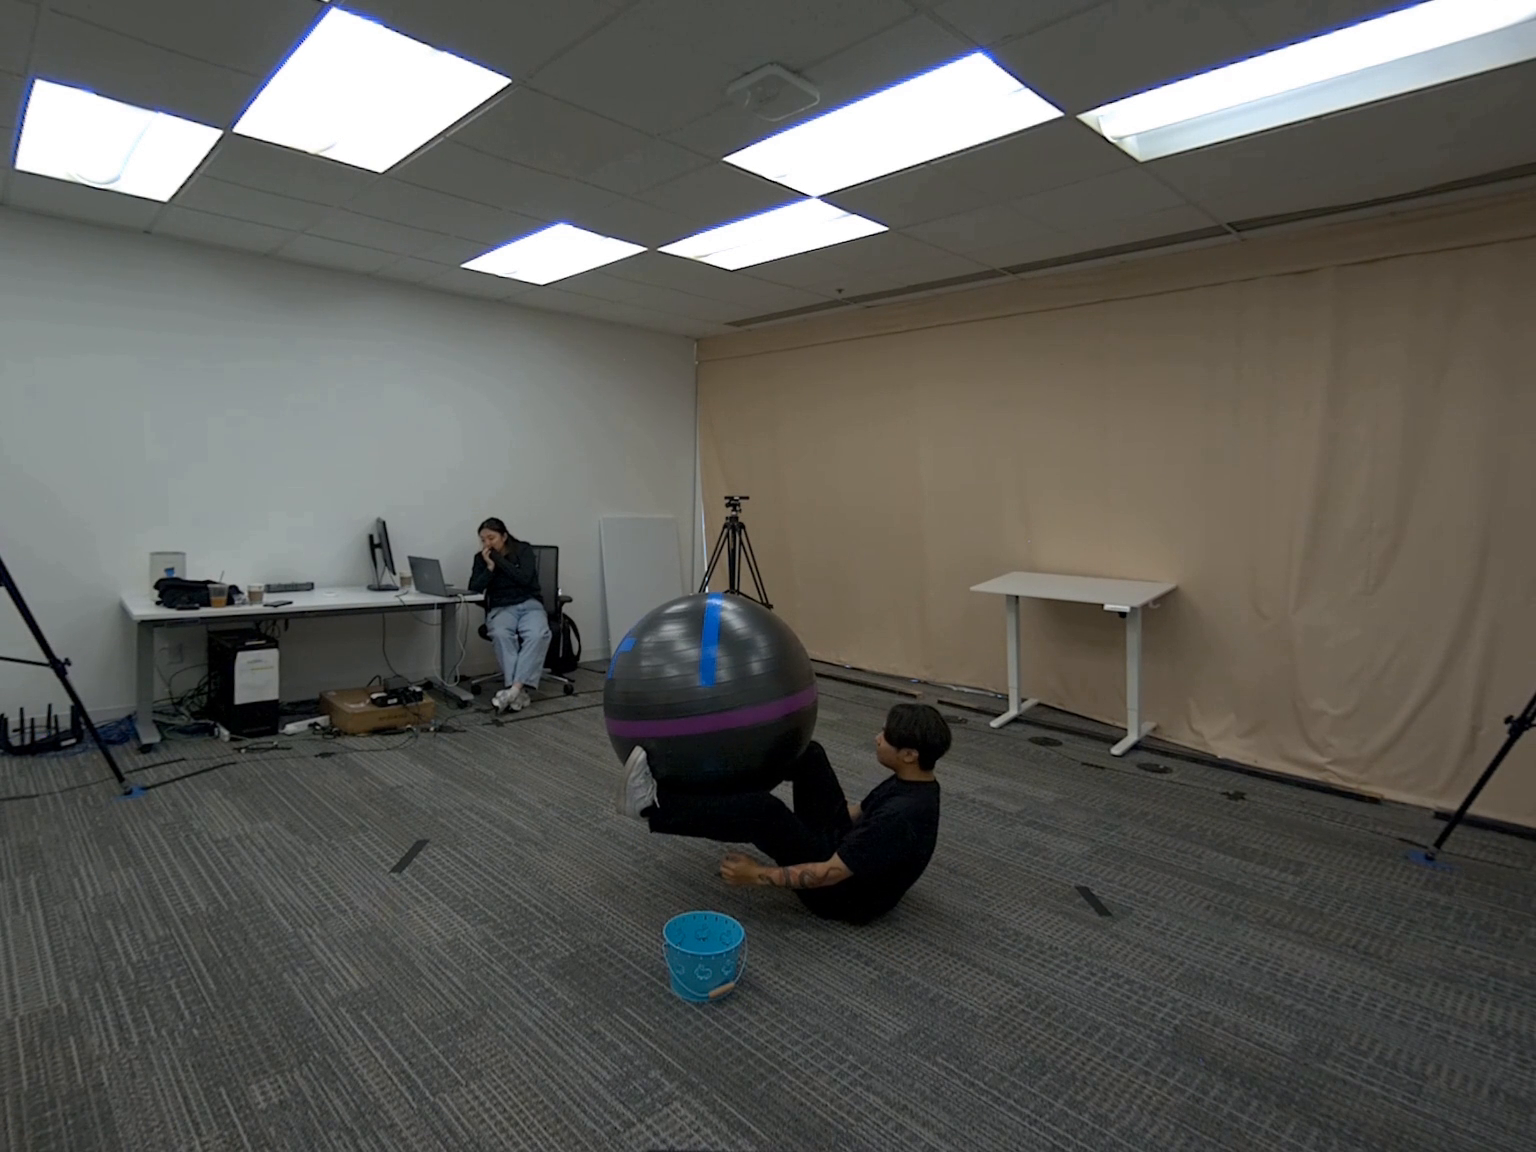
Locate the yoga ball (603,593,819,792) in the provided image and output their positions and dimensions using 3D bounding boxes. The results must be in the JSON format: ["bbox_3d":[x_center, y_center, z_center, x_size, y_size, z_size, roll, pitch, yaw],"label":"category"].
[{"bbox_3d":[-0.204,0.446,3.012,0.757,0.756,0.761,1,4,-1],"label":"yoga ball"}]
